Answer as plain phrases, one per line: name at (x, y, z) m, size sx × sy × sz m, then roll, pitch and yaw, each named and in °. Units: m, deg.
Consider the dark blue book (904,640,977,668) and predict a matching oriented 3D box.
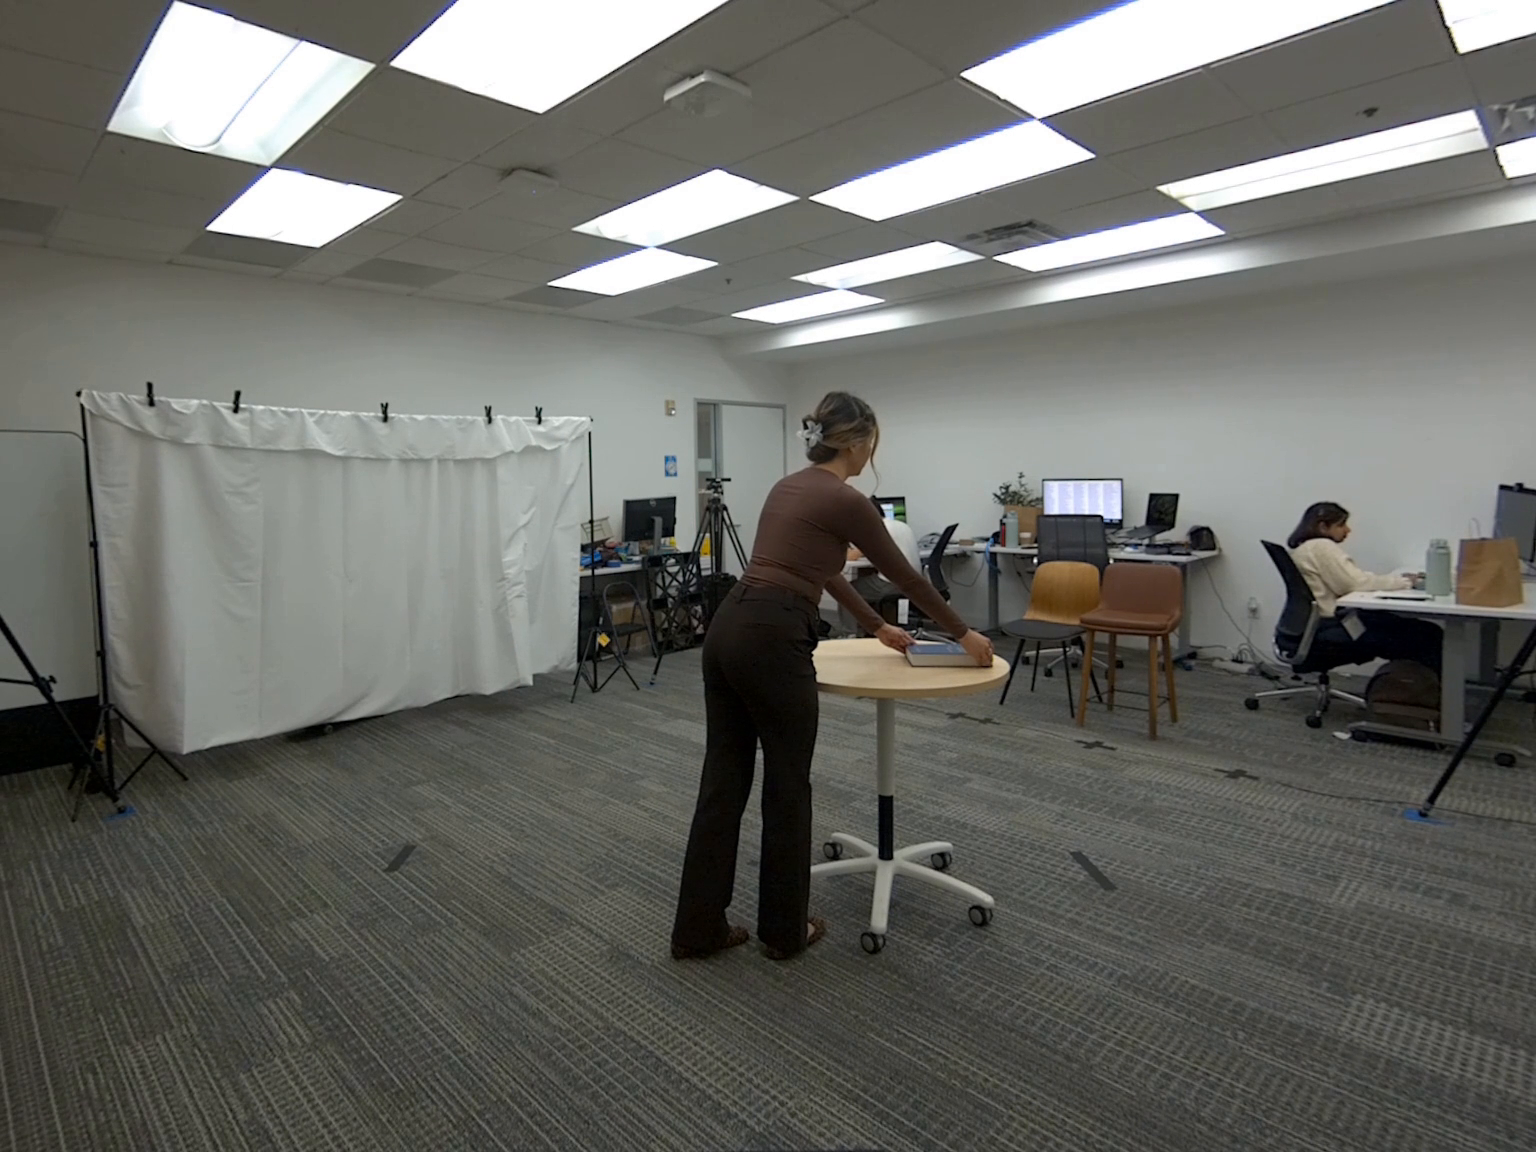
dark blue book at (0.585, 0.254, 2.750) m, size 0.246 × 0.045 × 0.163 m, roll 0°, pitch 6°, yaw 4°
